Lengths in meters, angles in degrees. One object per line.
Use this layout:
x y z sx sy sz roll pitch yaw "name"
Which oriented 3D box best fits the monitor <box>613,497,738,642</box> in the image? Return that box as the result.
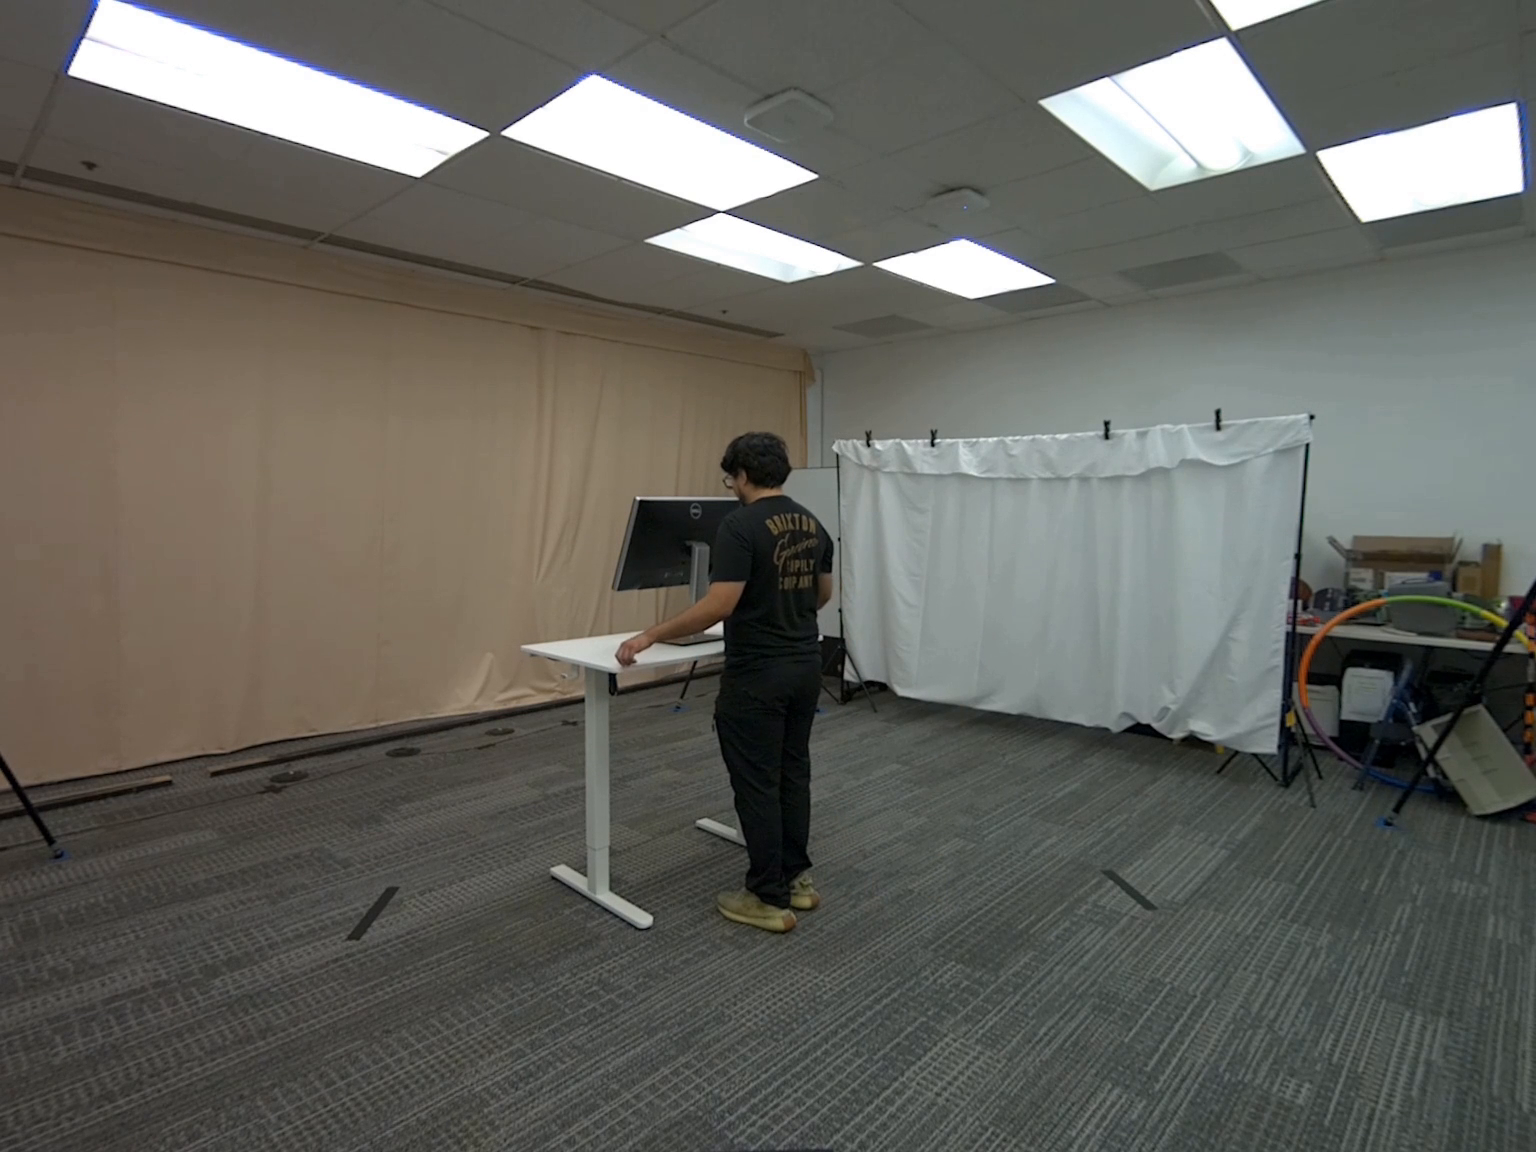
-0.284 -0.021 3.169 0.218 0.551 0.548 17 13 39 "monitor"
